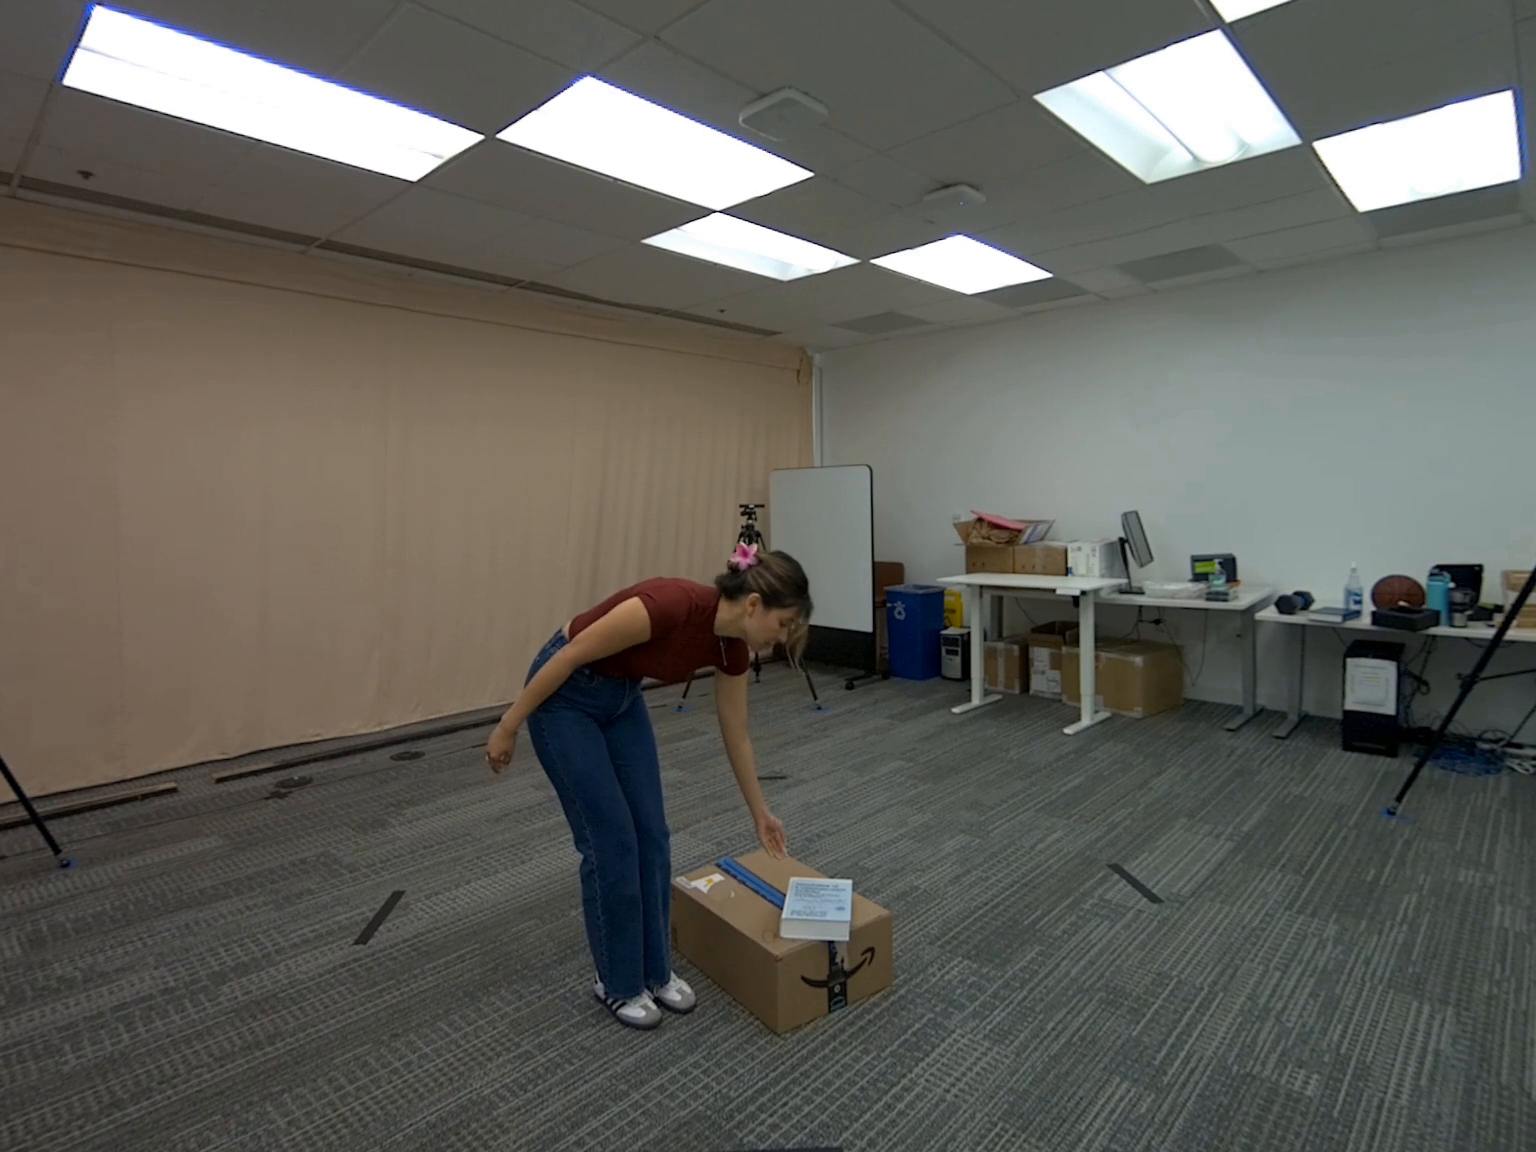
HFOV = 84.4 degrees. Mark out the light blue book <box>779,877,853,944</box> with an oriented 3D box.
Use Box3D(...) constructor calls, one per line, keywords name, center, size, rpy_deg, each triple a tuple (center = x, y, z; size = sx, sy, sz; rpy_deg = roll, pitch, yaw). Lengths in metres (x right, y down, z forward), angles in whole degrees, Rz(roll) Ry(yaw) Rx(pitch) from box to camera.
Box3D(name="light blue book", center=(0.149, 0.941, 2.396), size=(0.193, 0.059, 0.259), rpy_deg=(-1, 3, 8))
